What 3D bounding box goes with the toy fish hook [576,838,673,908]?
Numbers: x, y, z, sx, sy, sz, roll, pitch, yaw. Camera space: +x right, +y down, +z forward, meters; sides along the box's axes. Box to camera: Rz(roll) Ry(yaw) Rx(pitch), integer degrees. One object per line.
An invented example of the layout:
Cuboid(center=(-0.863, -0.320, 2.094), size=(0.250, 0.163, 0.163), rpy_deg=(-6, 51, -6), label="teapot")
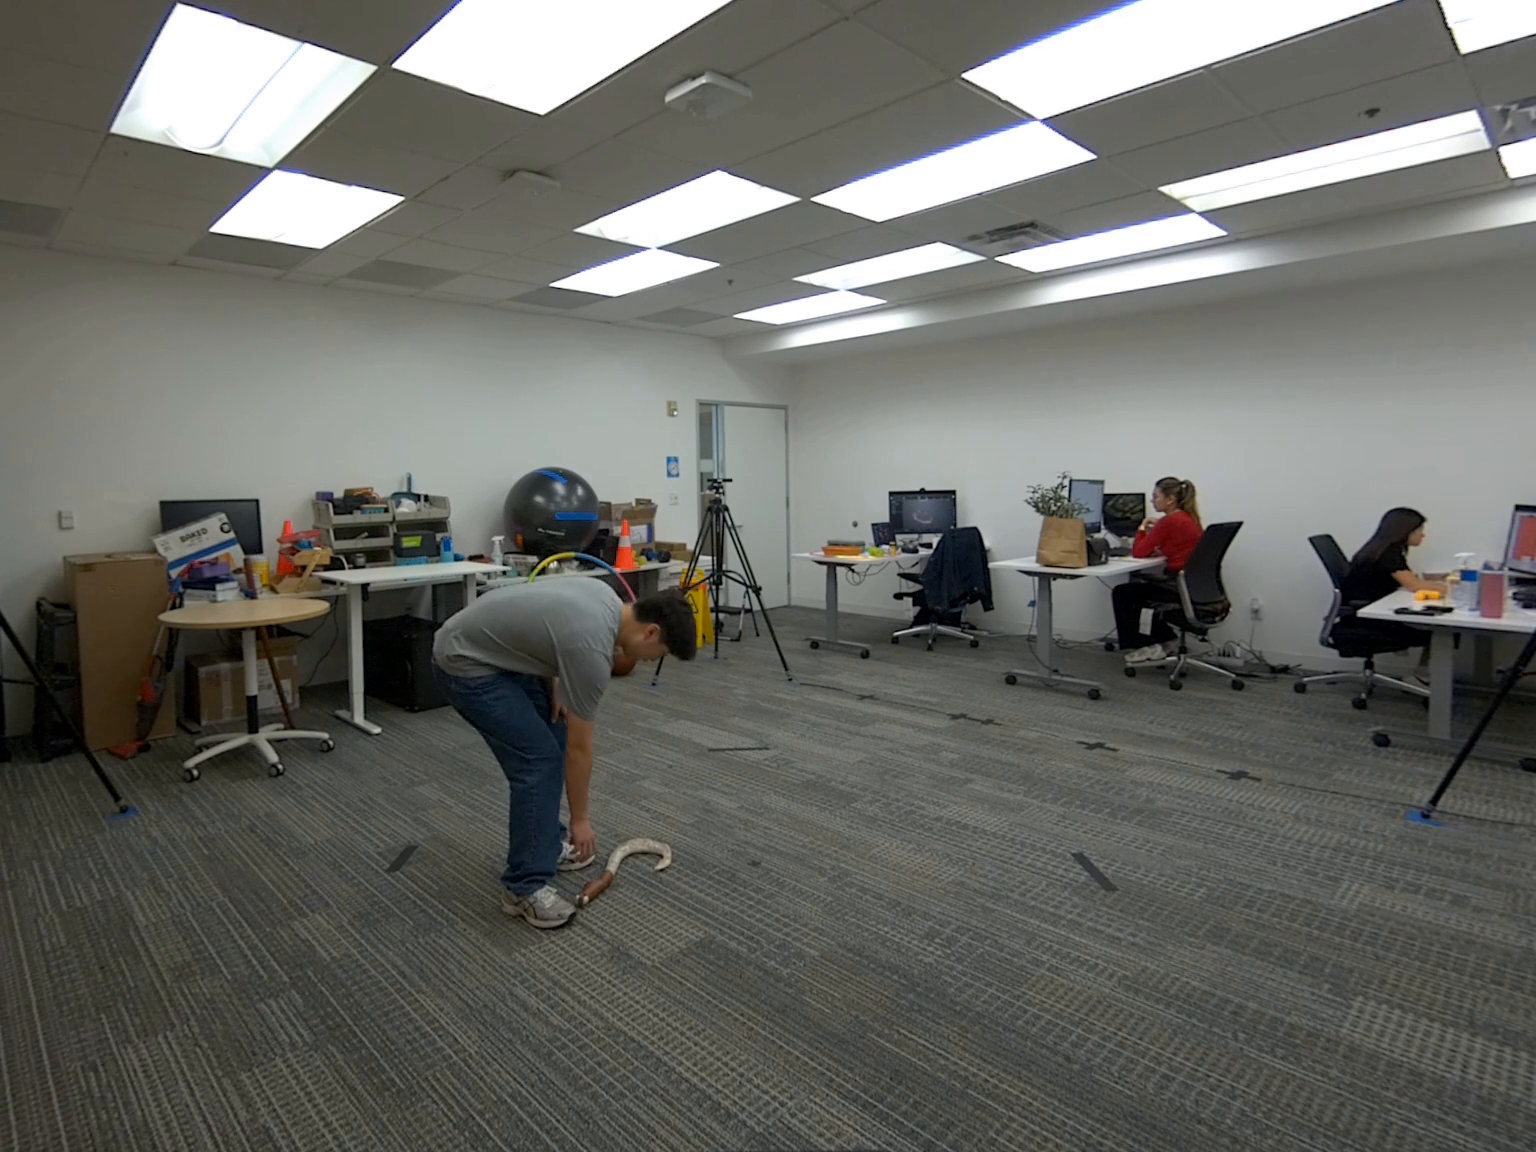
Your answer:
Cuboid(center=(-0.494, 1.041, 3.010), size=(0.228, 0.048, 0.501), rpy_deg=(0, 8, 17), label="toy fish hook")
